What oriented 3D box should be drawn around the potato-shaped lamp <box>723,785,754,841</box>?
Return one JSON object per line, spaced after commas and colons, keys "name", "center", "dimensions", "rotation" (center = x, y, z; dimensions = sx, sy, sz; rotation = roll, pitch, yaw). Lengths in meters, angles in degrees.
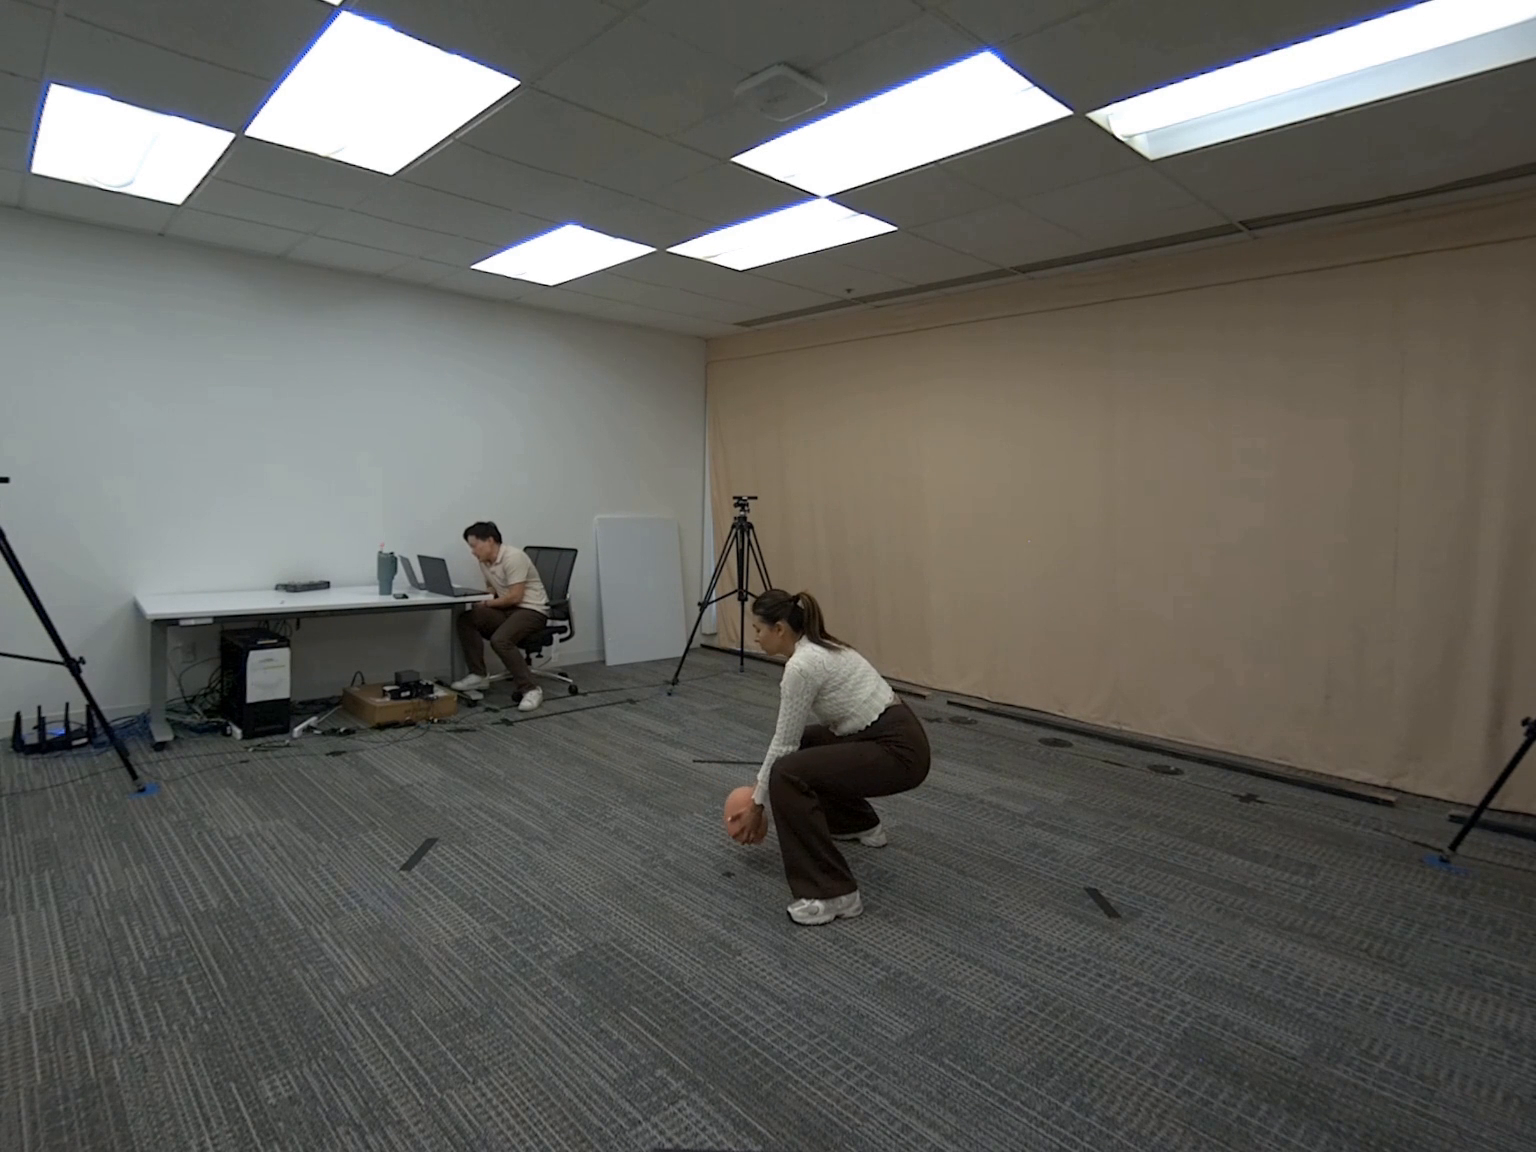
{"name": "potato-shaped lamp", "center": [-0.096, 0.890, 3.221], "dimensions": [0.174, 0.197, 0.162], "rotation": [11, 7, 20]}
